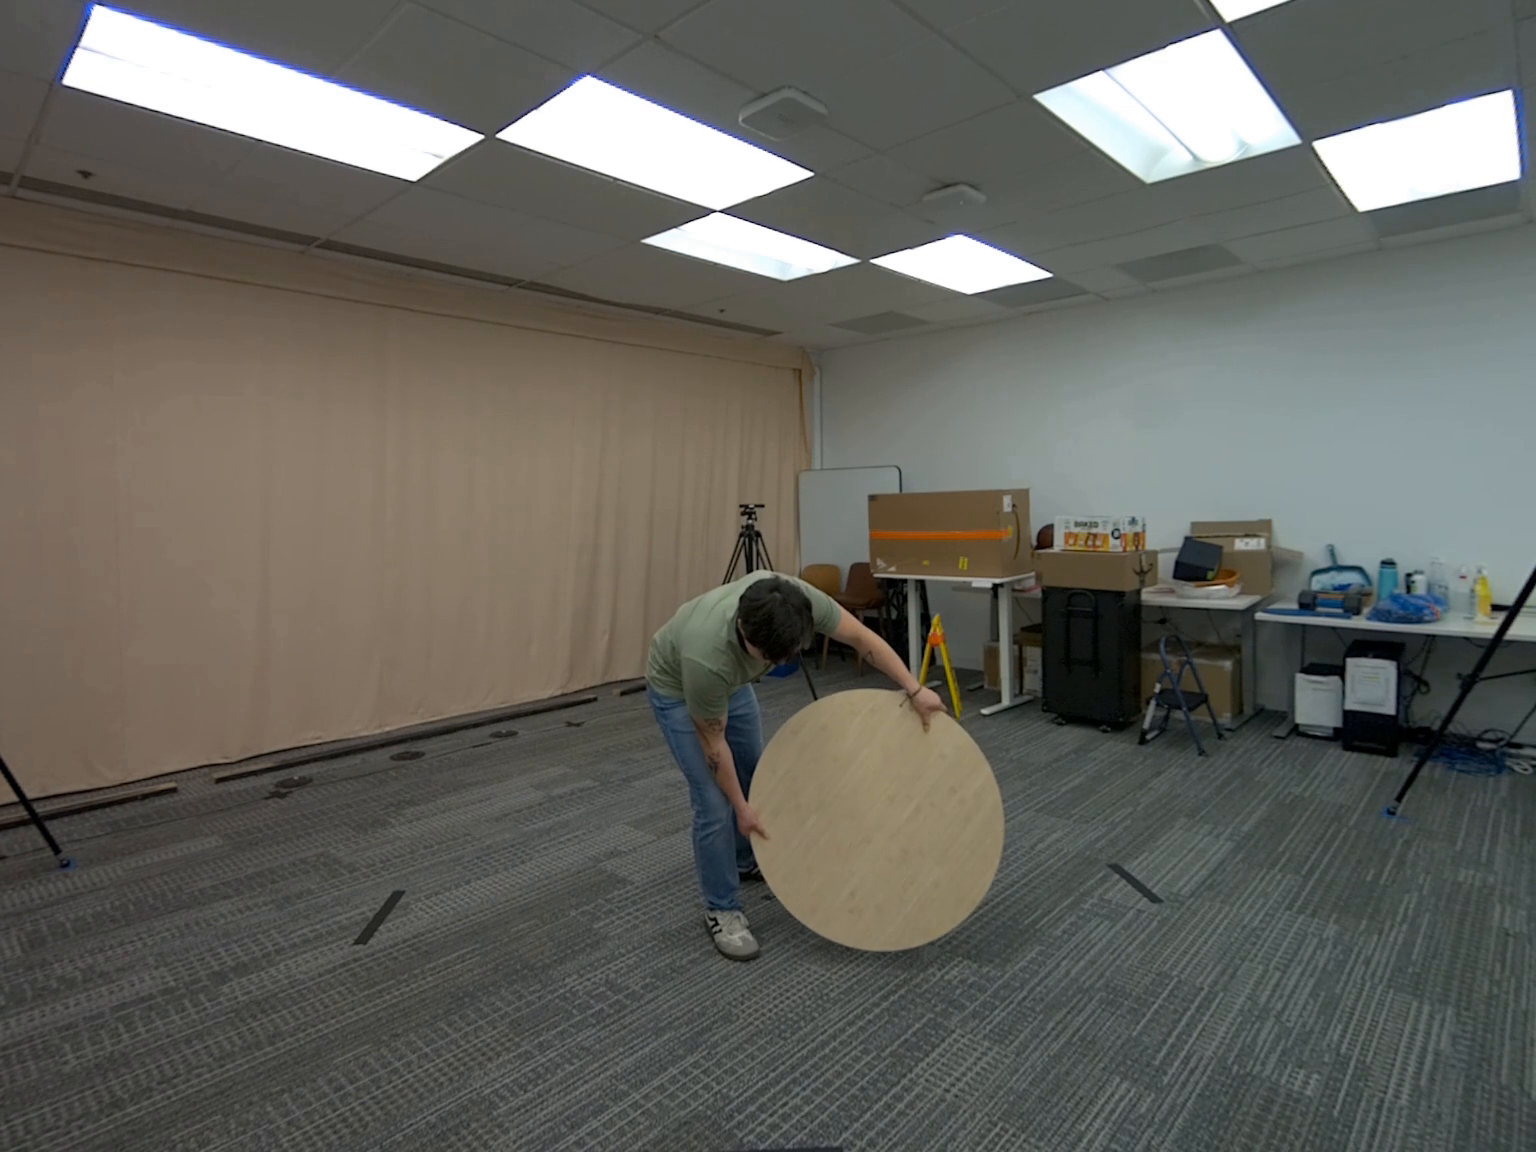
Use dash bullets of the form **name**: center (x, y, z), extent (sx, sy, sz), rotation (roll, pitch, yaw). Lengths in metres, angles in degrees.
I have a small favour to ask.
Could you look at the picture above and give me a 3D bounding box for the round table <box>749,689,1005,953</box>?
- **round table**: center (0.362, 0.781, 2.937), extent (0.772, 0.768, 0.782), rotation (0, -7, 8)
